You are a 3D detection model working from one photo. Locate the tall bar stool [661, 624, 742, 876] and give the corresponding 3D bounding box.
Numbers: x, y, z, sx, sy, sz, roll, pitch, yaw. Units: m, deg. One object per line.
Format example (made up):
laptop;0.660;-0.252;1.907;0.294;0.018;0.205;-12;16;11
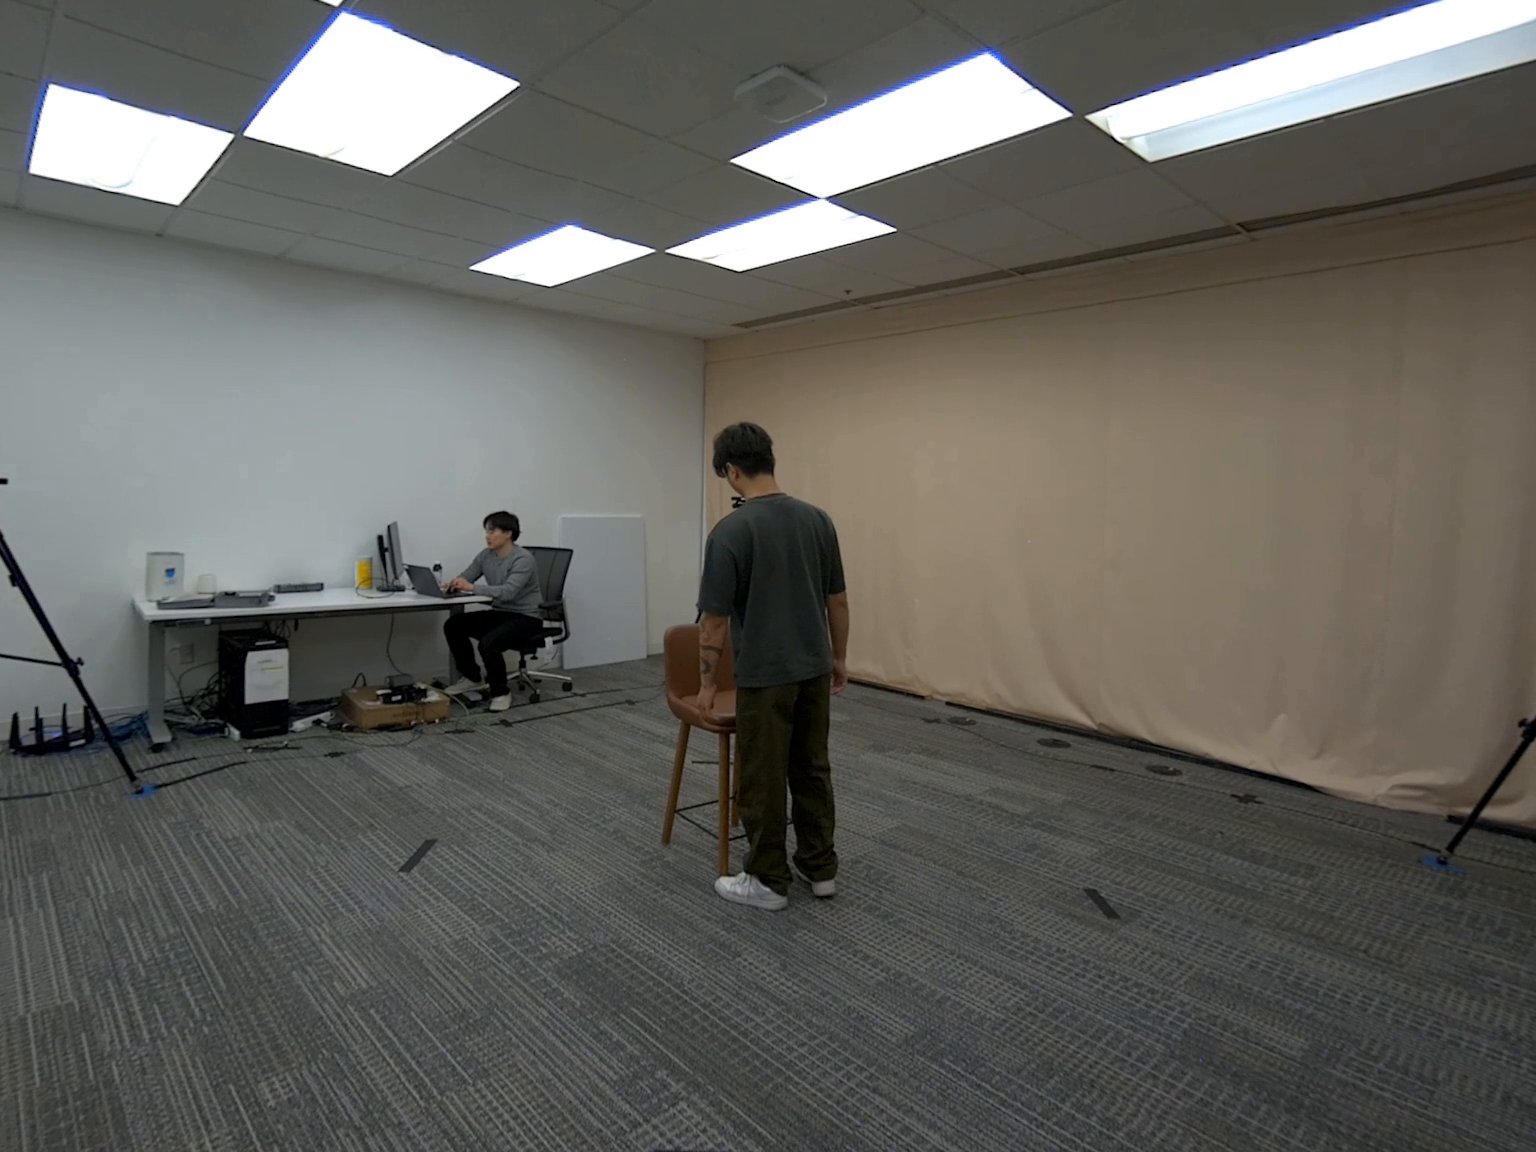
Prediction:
tall bar stool;-0.150;0.652;3.304;0.446;0.889;0.479;-1;2;-38
